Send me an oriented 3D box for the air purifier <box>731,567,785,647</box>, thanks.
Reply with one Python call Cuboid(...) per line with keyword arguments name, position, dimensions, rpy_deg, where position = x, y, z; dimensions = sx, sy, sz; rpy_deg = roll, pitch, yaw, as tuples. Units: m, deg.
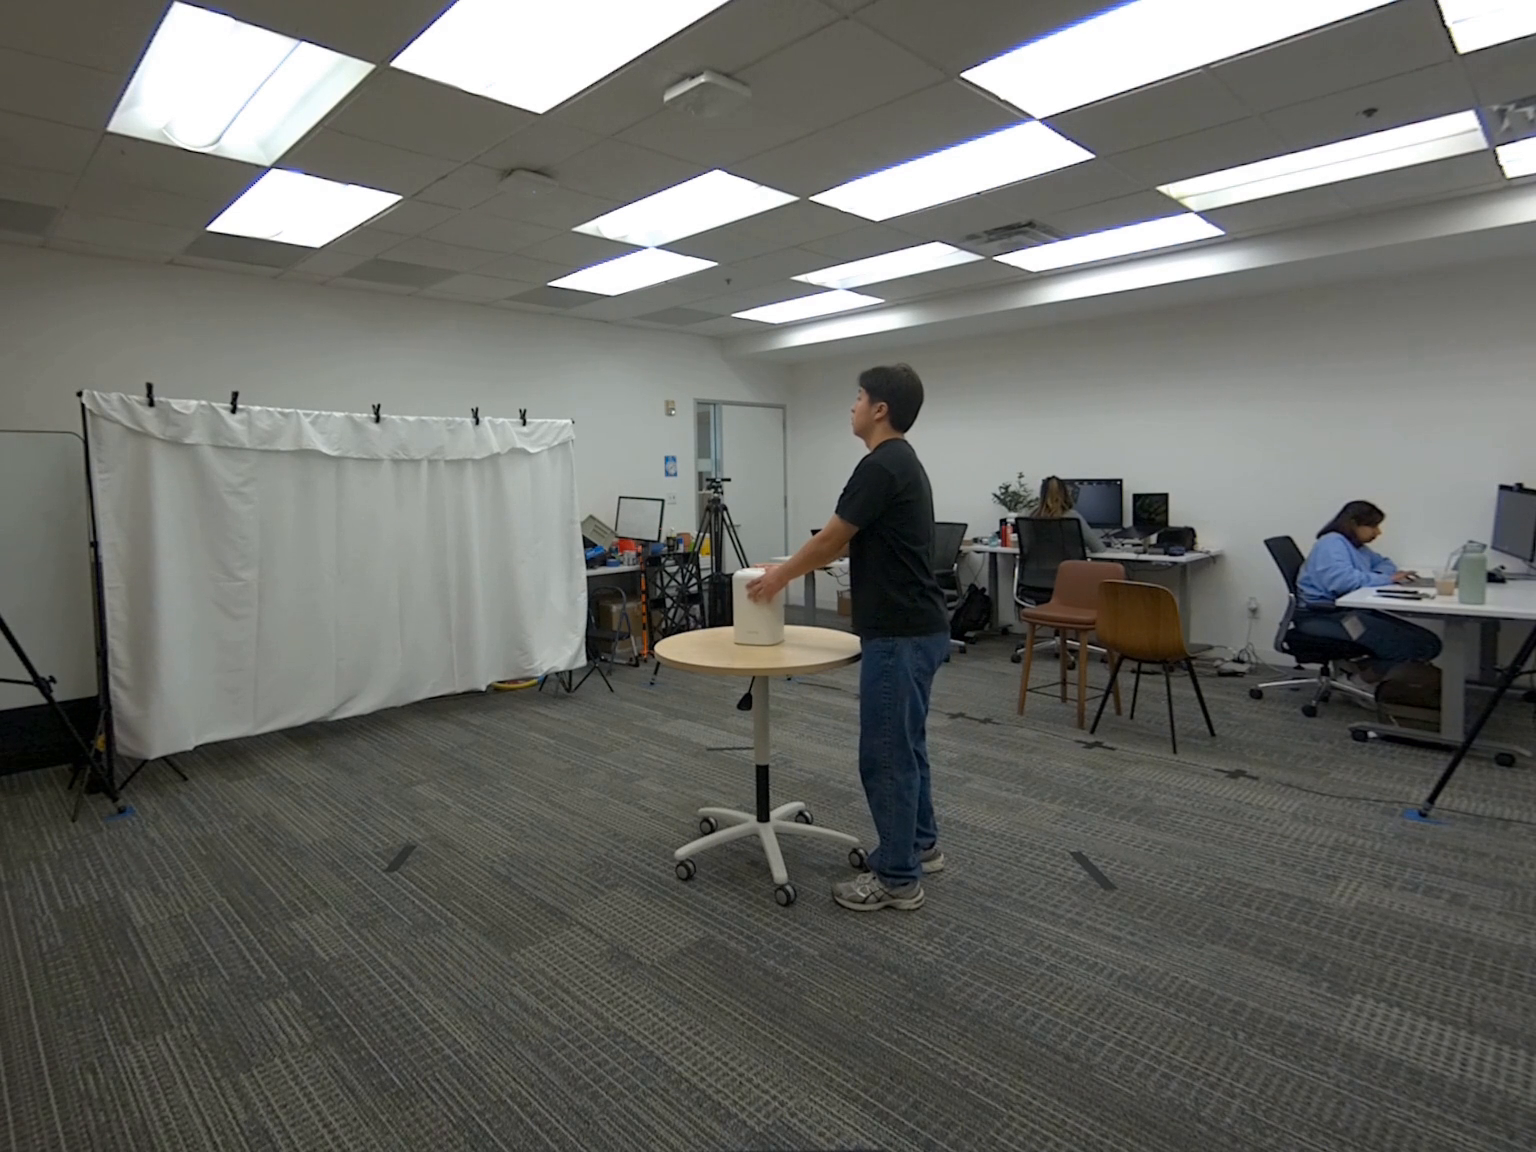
Cuboid(name="air purifier", position=(-0.030, 0.106, 3.142), dimensions=(0.174, 0.264, 0.169), rpy_deg=(2, 6, 18))
